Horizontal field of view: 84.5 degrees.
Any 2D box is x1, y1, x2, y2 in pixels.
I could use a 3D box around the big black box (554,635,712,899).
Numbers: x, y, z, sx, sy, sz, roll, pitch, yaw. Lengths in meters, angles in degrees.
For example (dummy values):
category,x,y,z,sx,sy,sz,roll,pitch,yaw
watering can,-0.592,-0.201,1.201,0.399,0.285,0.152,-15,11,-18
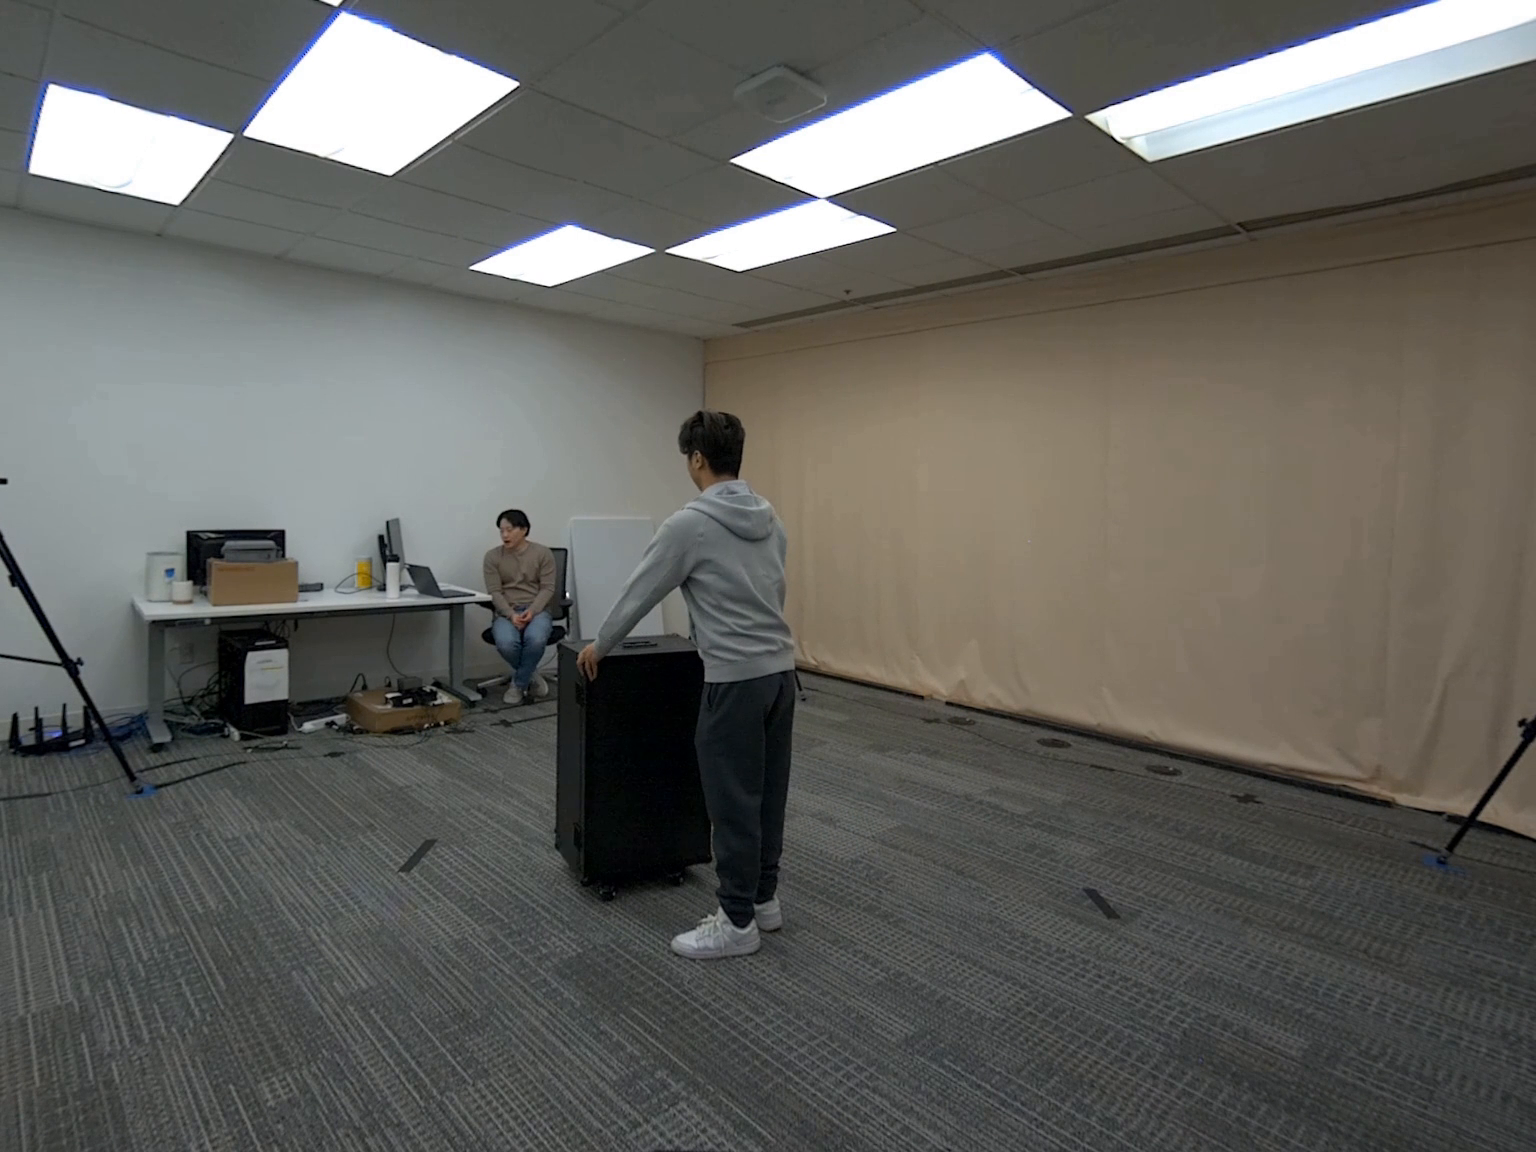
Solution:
category,x,y,z,sx,sy,sz,roll,pitch,yaw
big black box,-0.513,0.678,3.094,0.511,0.860,0.405,0,3,-28
